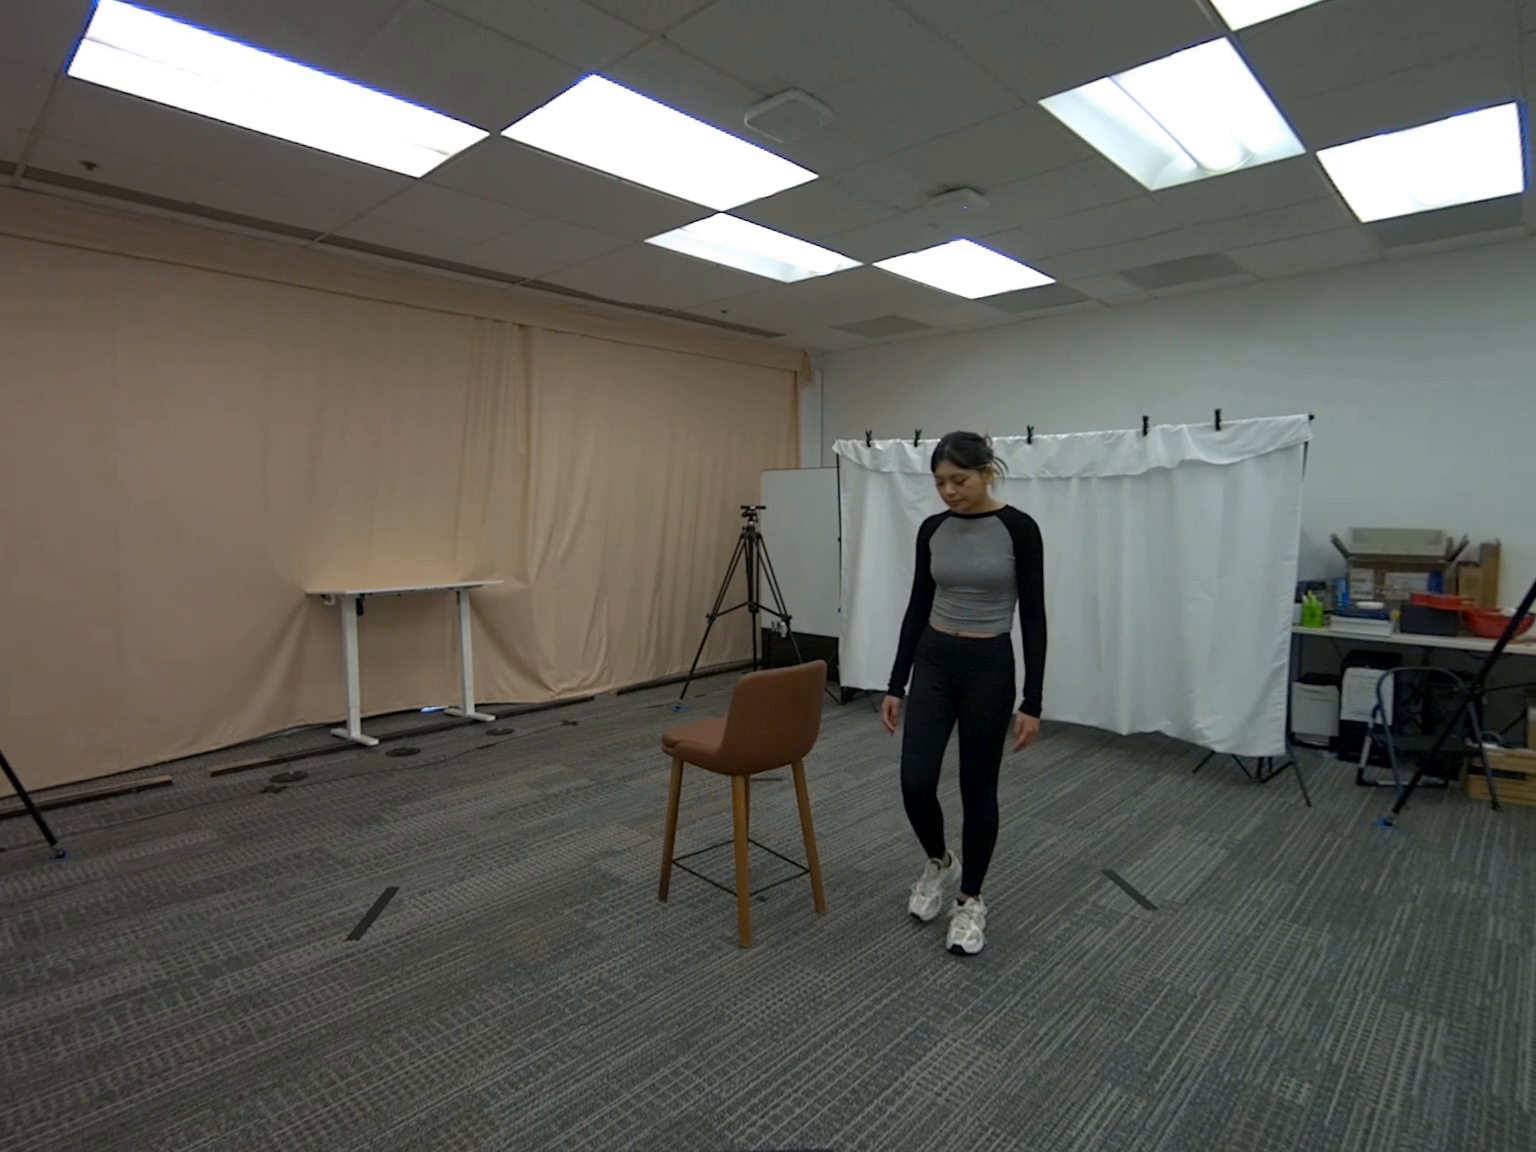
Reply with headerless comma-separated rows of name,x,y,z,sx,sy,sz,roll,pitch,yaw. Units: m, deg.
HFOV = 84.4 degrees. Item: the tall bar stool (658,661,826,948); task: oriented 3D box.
tall bar stool,-0.083,0.714,2.908,0.442,0.887,0.483,-3,7,-42
